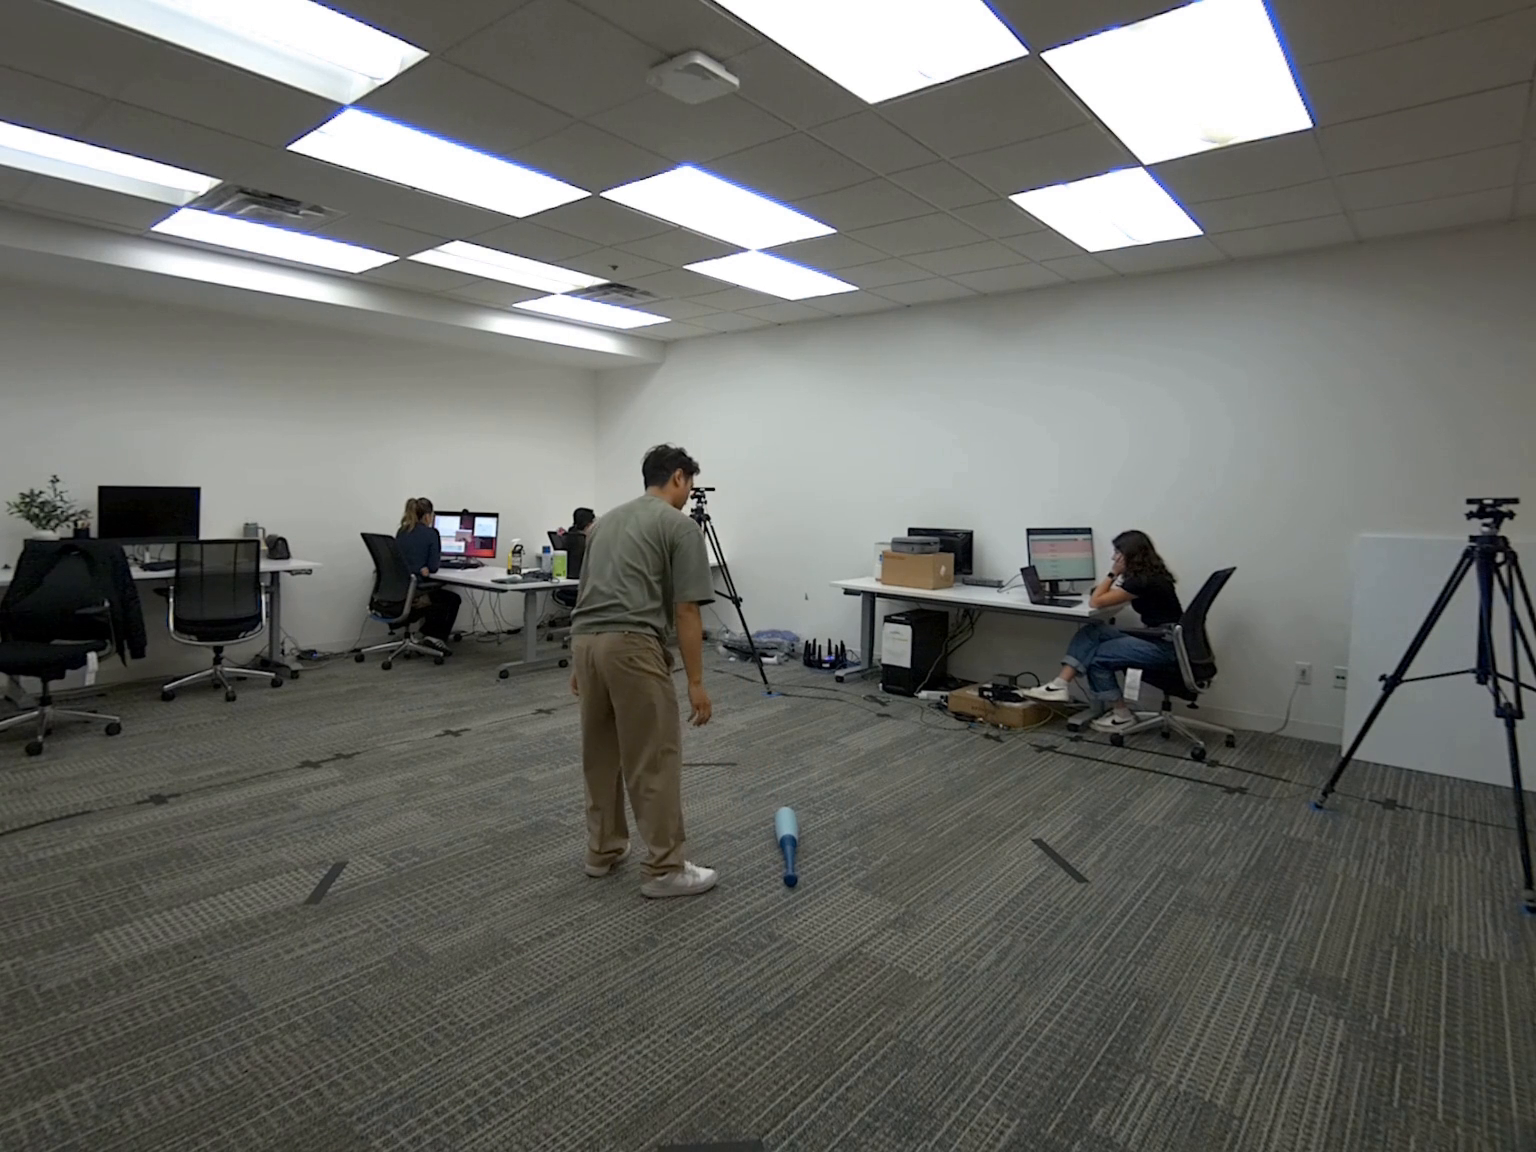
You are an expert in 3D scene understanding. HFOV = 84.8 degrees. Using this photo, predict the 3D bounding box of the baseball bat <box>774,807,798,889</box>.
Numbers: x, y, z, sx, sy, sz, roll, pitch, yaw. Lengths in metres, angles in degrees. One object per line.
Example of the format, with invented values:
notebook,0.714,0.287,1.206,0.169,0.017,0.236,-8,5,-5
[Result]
baseball bat,0.070,1.020,3.235,0.089,0.088,0.546,1,8,-2
